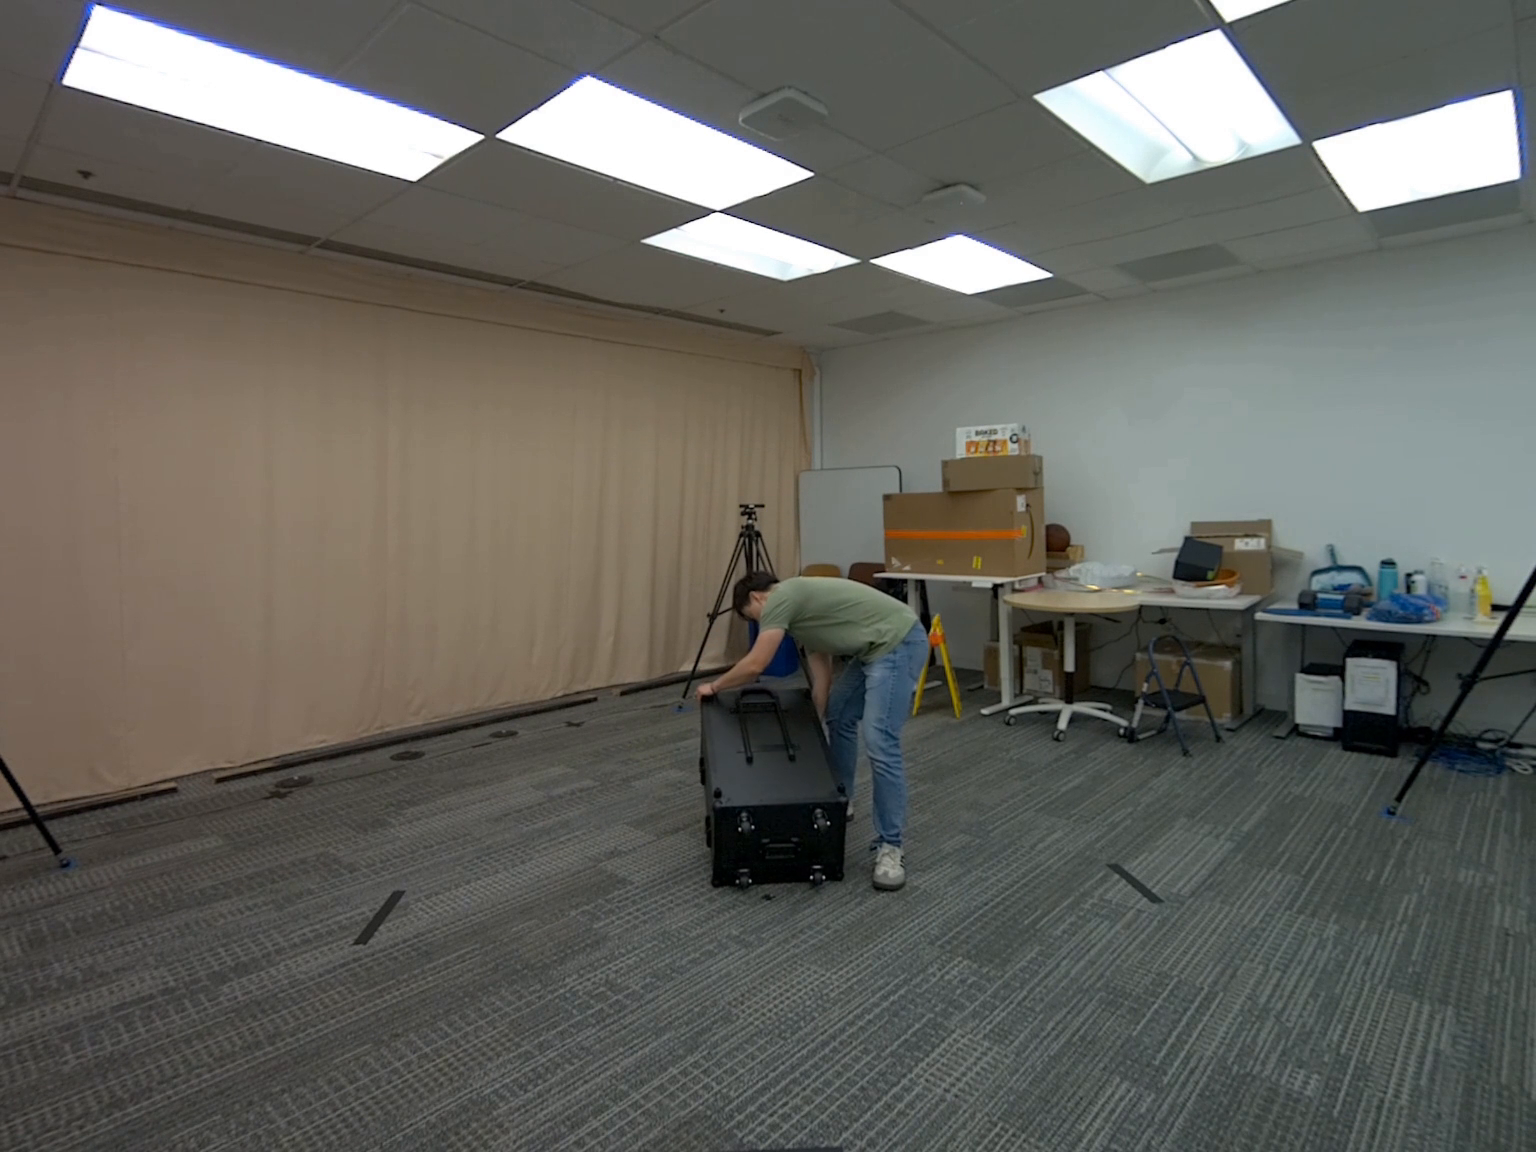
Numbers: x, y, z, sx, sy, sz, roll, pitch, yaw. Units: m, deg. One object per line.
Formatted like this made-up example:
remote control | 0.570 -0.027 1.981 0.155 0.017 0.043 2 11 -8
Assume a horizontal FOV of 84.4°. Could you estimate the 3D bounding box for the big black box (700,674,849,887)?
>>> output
big black box | 0.000 0.813 3.346 0.519 0.391 0.876 -1 23 -5
